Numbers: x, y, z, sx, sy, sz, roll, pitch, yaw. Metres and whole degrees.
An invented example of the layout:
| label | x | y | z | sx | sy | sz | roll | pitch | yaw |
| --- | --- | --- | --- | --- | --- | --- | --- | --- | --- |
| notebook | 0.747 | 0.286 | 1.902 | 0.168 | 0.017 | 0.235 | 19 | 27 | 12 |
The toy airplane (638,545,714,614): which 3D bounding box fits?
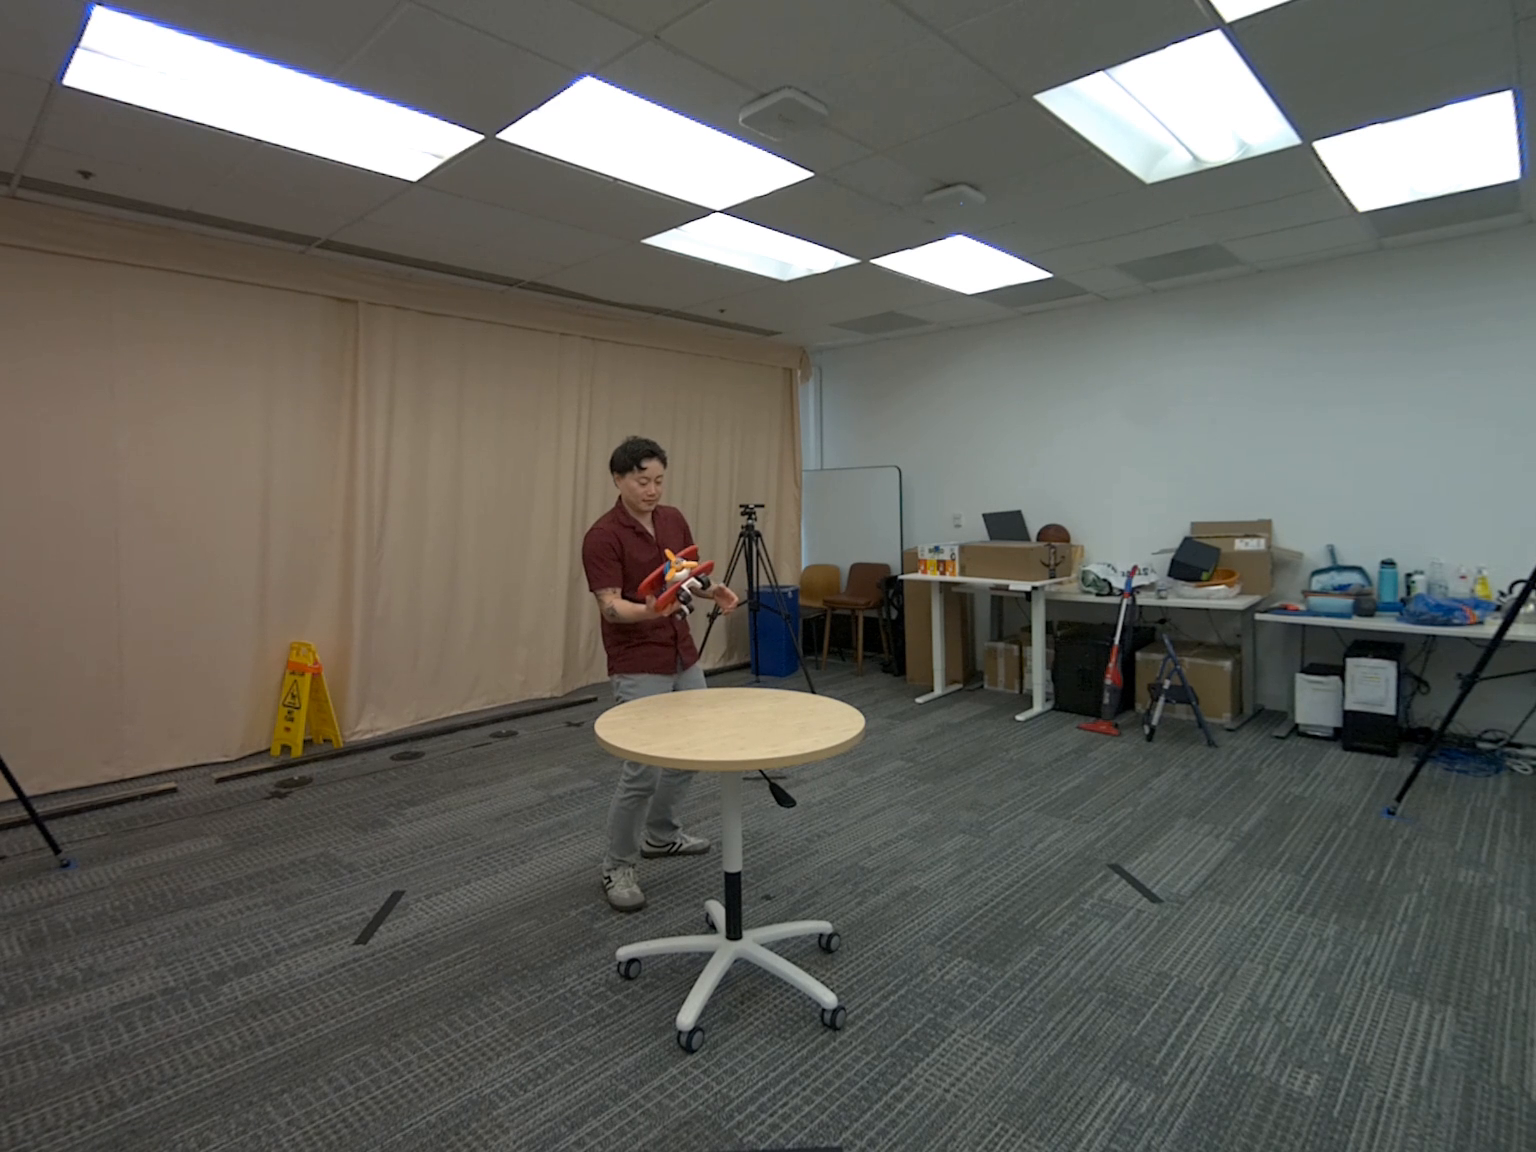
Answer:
| label | x | y | z | sx | sy | sz | roll | pitch | yaw |
| --- | --- | --- | --- | --- | --- | --- | --- | --- | --- |
| toy airplane | -0.306 | 0.048 | 2.759 | 0.261 | 0.158 | 0.246 | -47 | -10 | 35 |
